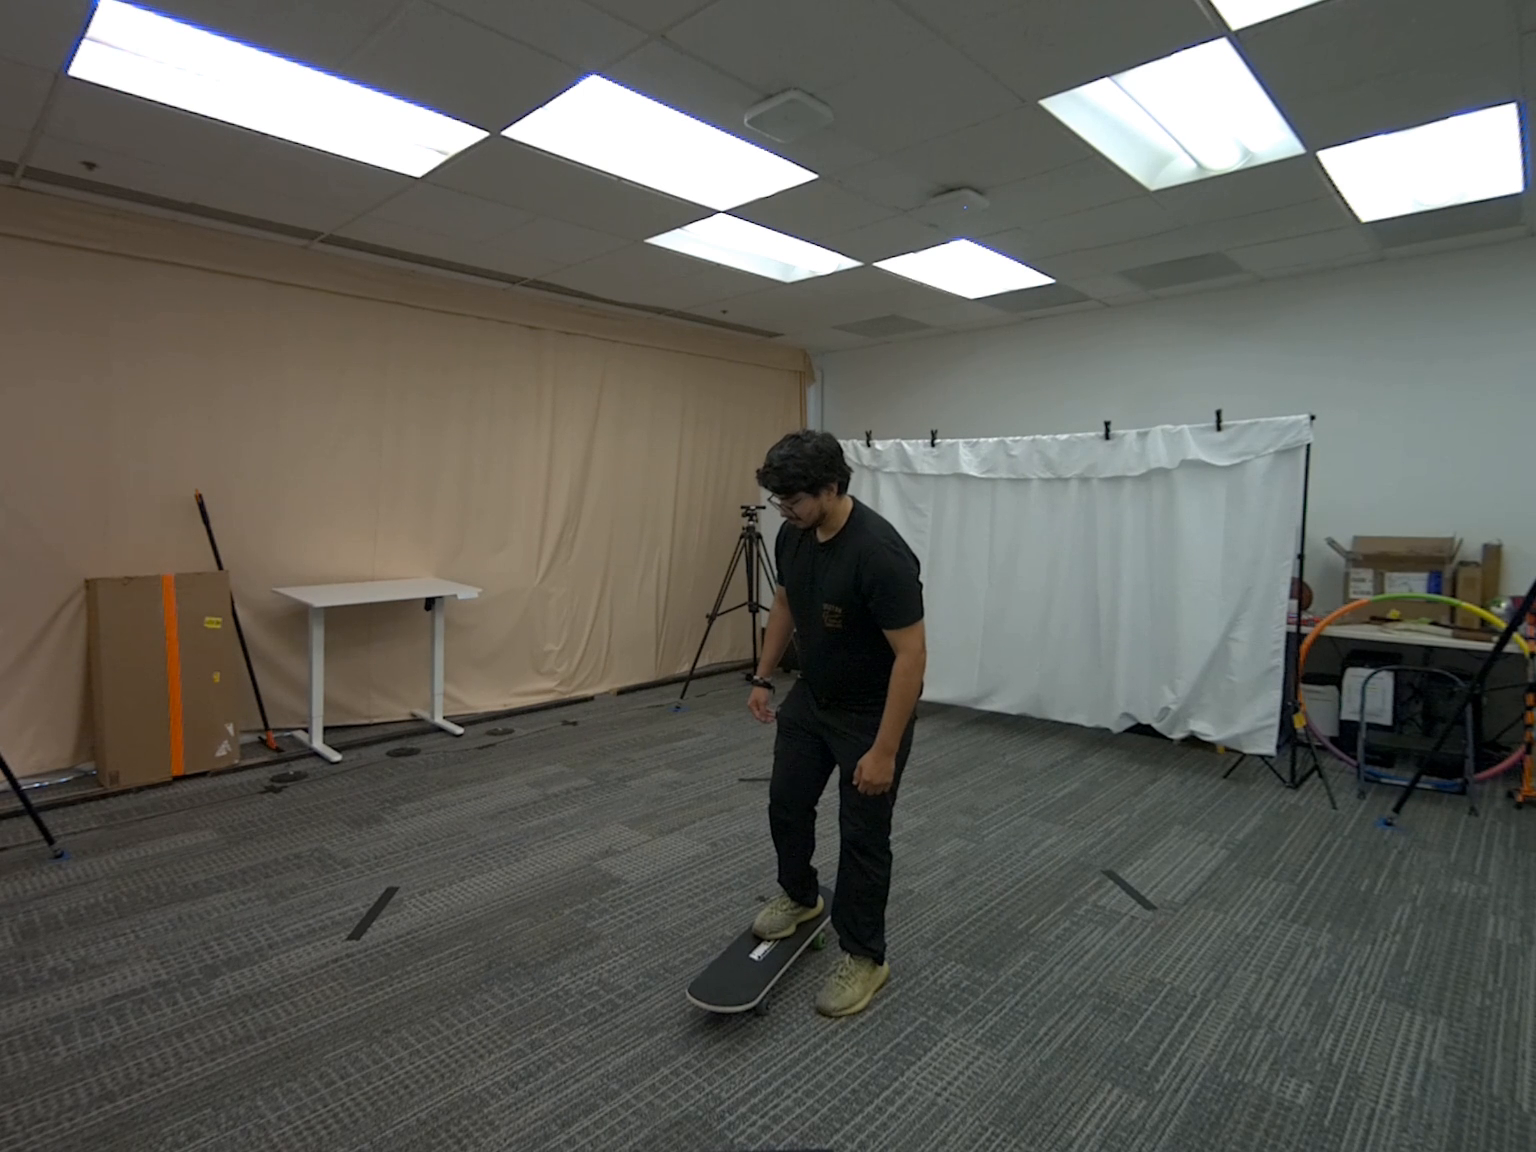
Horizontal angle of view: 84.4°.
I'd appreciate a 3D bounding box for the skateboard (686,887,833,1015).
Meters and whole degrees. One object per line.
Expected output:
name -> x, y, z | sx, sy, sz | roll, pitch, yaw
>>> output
skateboard -> 0.008, 1.134, 2.507 | 0.199, 0.110, 0.766 | 3, 5, 26
